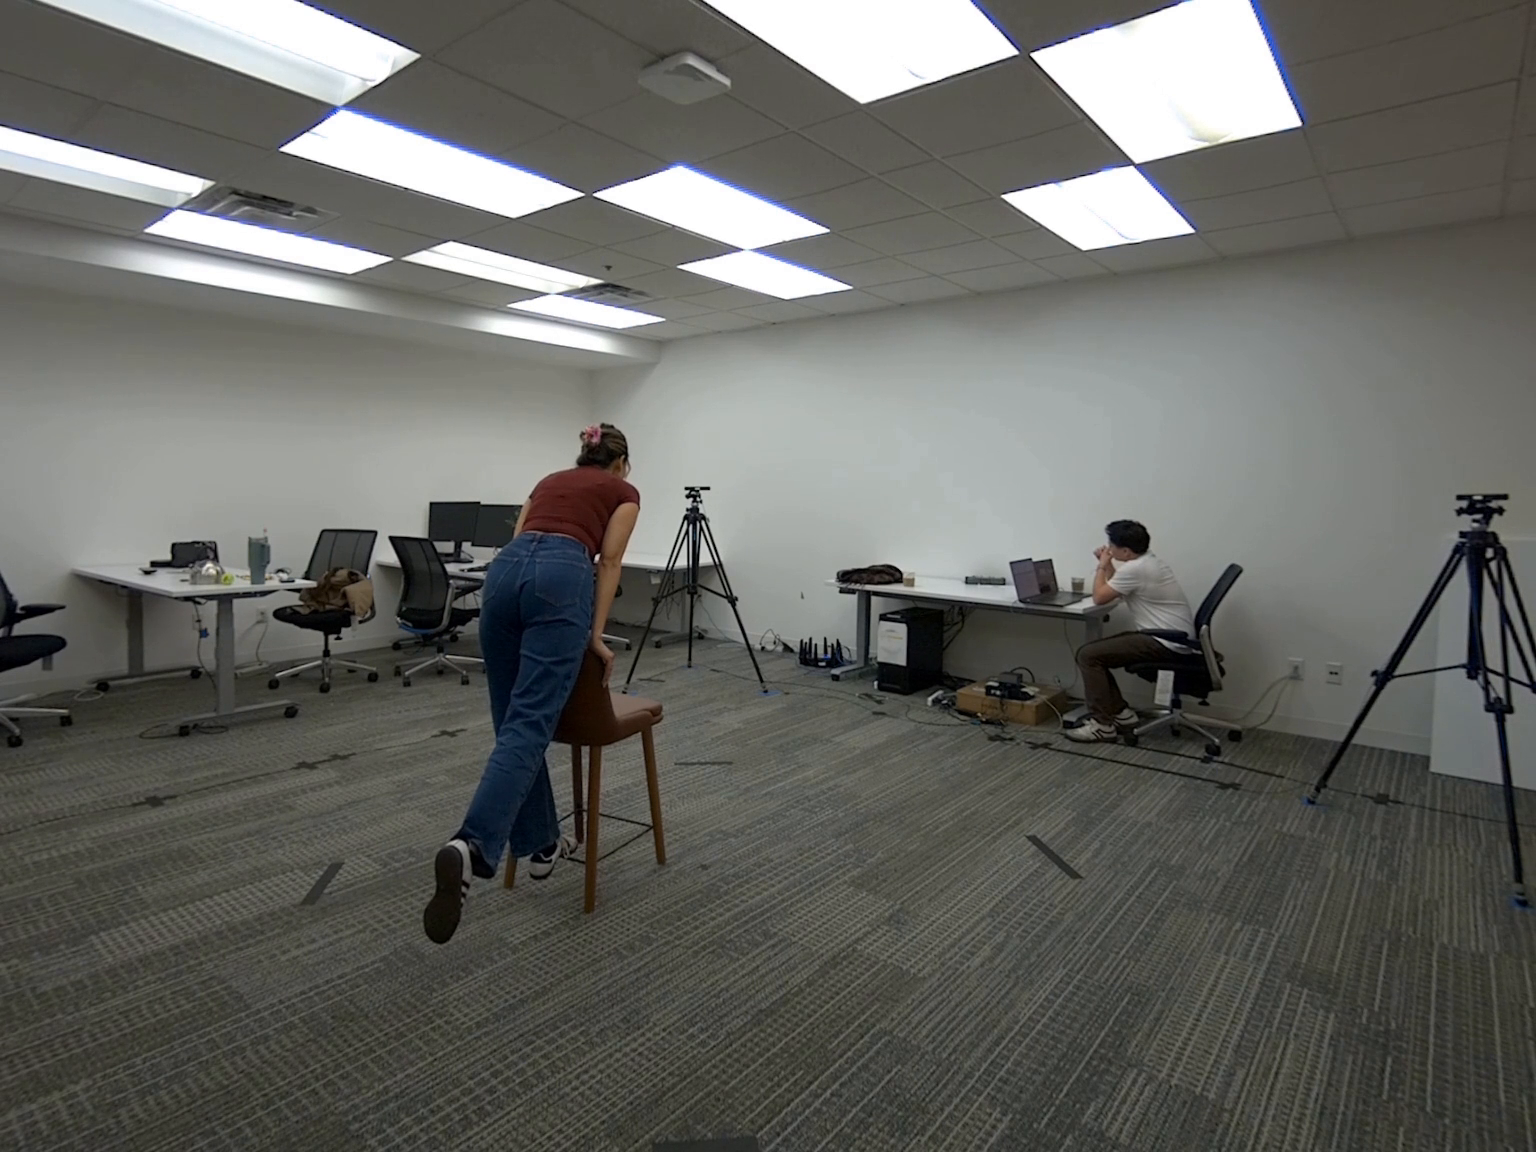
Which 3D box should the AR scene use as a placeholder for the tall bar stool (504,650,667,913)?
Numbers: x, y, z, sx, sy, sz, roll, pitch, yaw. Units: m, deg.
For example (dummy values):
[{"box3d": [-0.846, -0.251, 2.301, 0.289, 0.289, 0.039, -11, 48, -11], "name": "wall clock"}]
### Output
[{"box3d": [-0.662, 0.632, 3.017, 0.469, 0.886, 0.457, 2, 5, 27], "name": "tall bar stool"}]
